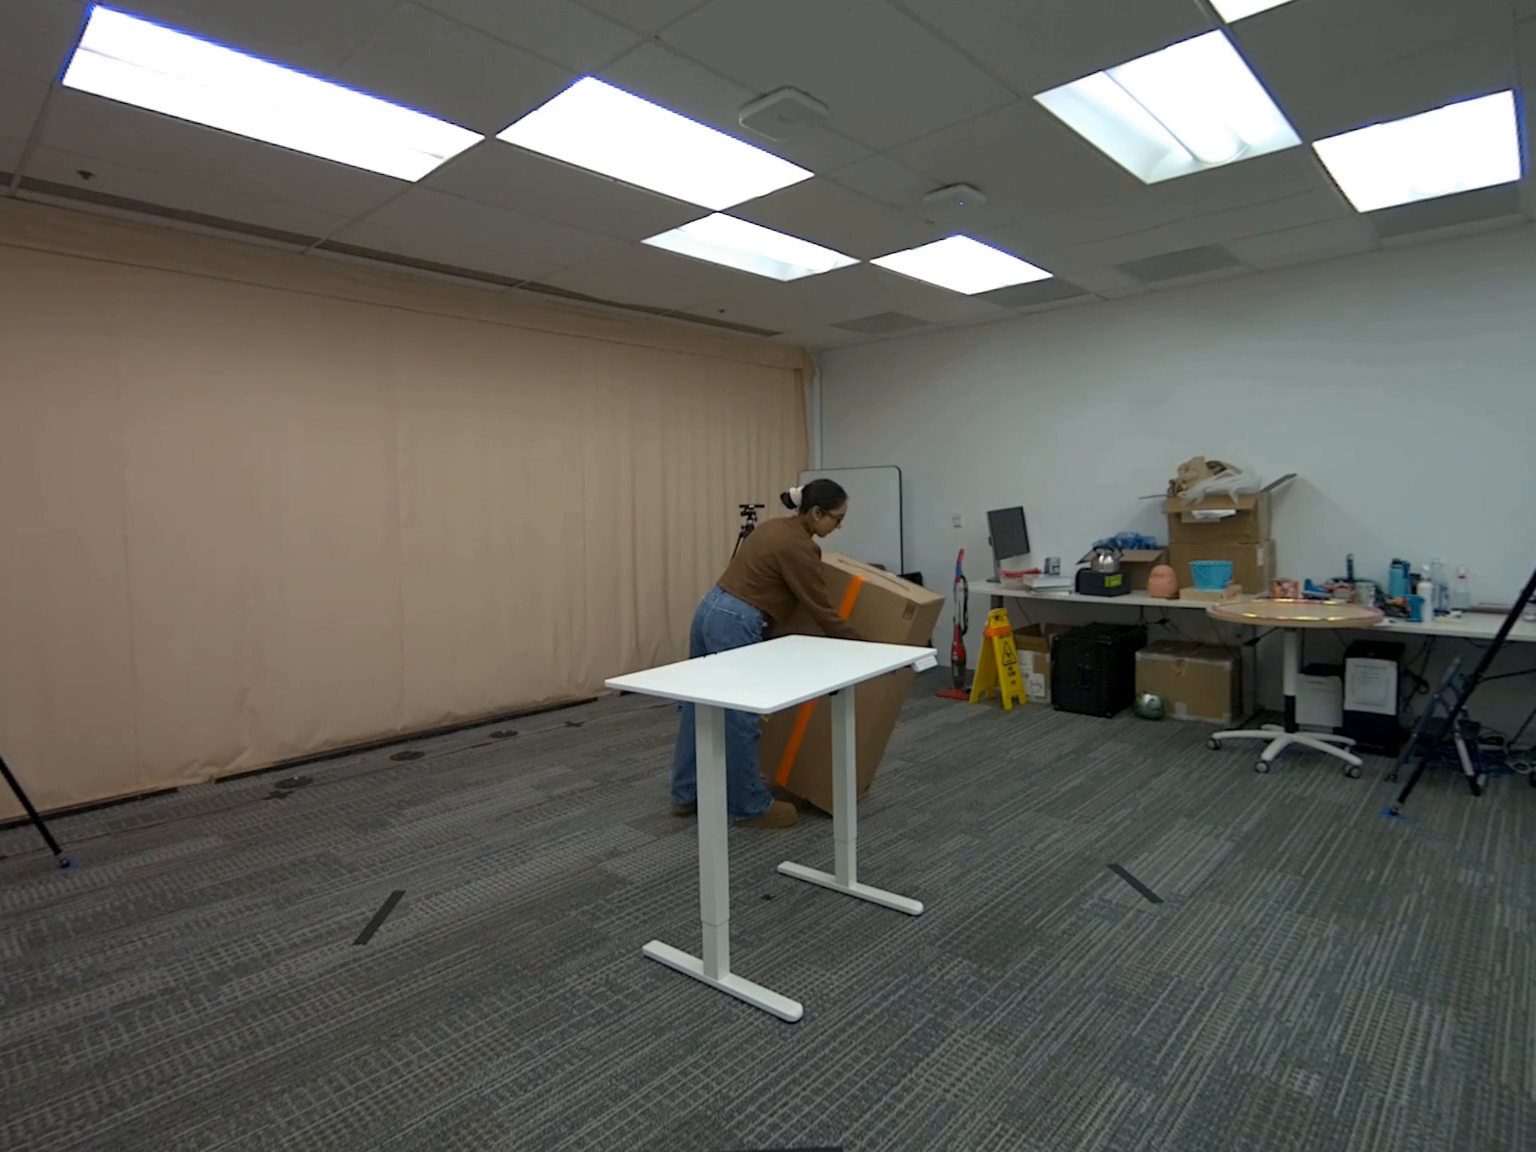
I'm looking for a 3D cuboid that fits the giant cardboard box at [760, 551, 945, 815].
[{"bbox_3d":[0.326,0.463,3.892,0.595,1.023,0.415,24,12,26],"label":"giant cardboard box"}]
